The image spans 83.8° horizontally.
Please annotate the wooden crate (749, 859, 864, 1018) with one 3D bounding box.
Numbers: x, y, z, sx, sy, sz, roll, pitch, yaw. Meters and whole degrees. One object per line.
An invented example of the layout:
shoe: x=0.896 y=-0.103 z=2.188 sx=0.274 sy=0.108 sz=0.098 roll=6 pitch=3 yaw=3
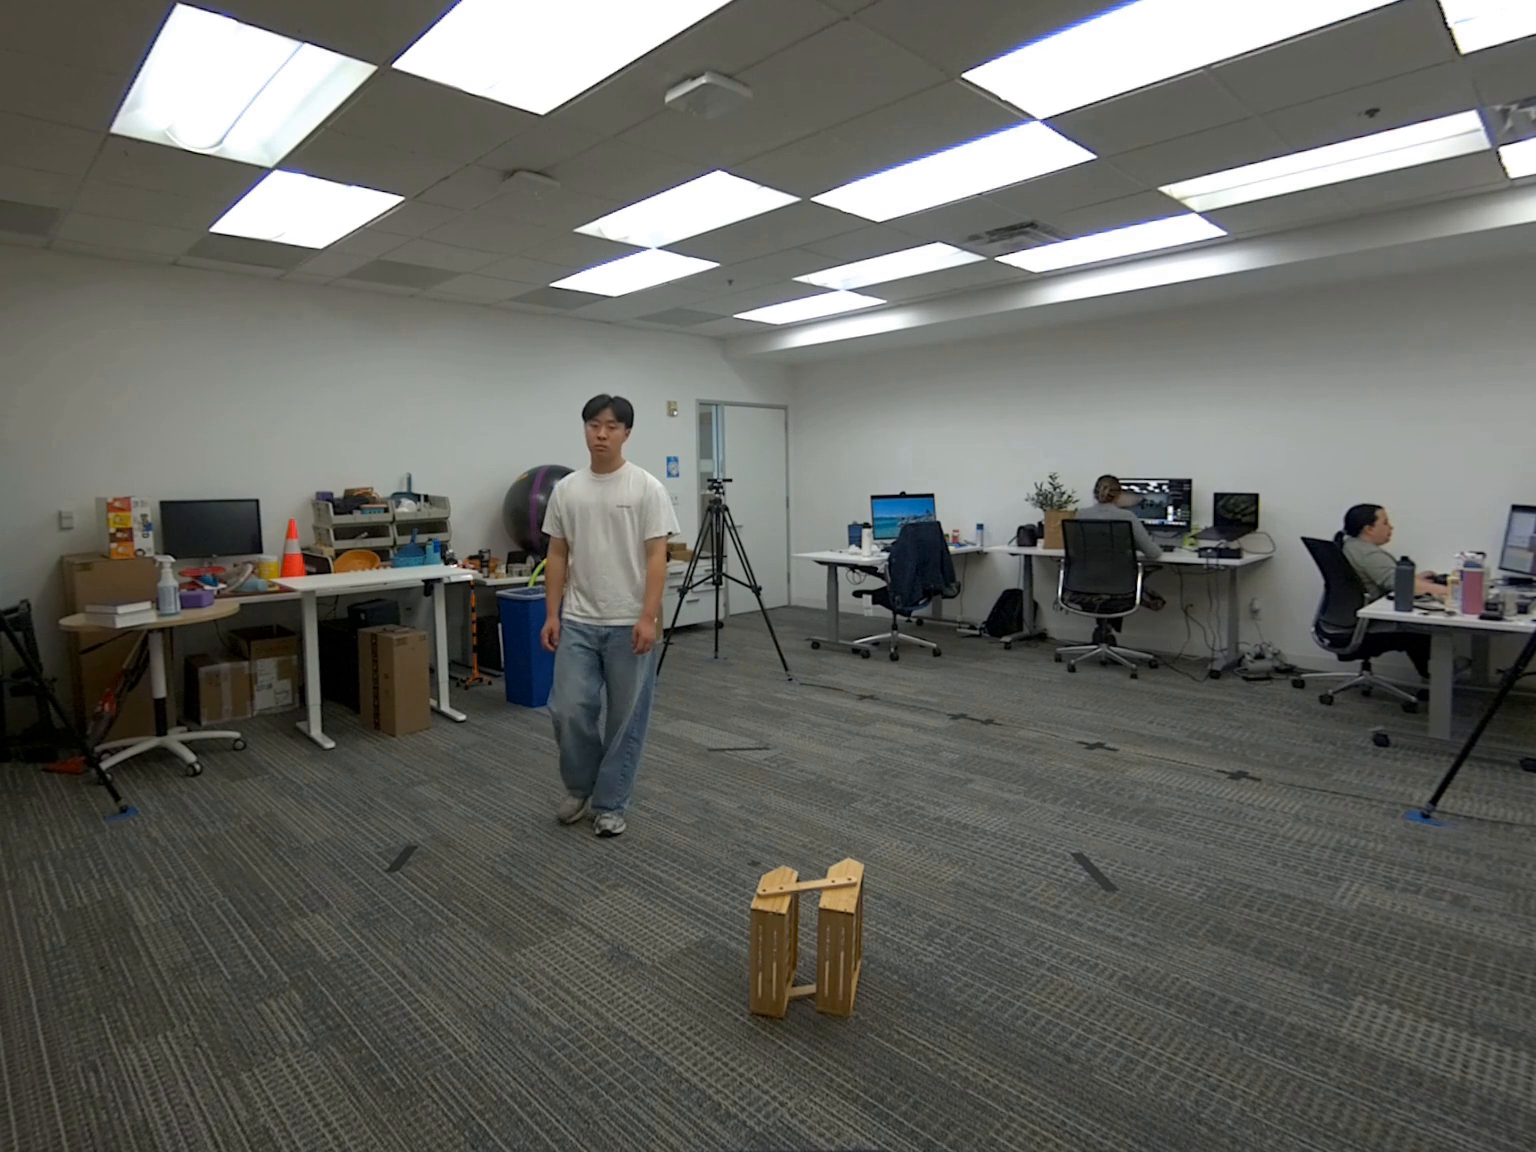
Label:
wooden crate: x=0.111 y=0.968 z=2.315 sx=0.277 sy=0.321 sz=0.300 roll=3 pitch=11 yaw=14
